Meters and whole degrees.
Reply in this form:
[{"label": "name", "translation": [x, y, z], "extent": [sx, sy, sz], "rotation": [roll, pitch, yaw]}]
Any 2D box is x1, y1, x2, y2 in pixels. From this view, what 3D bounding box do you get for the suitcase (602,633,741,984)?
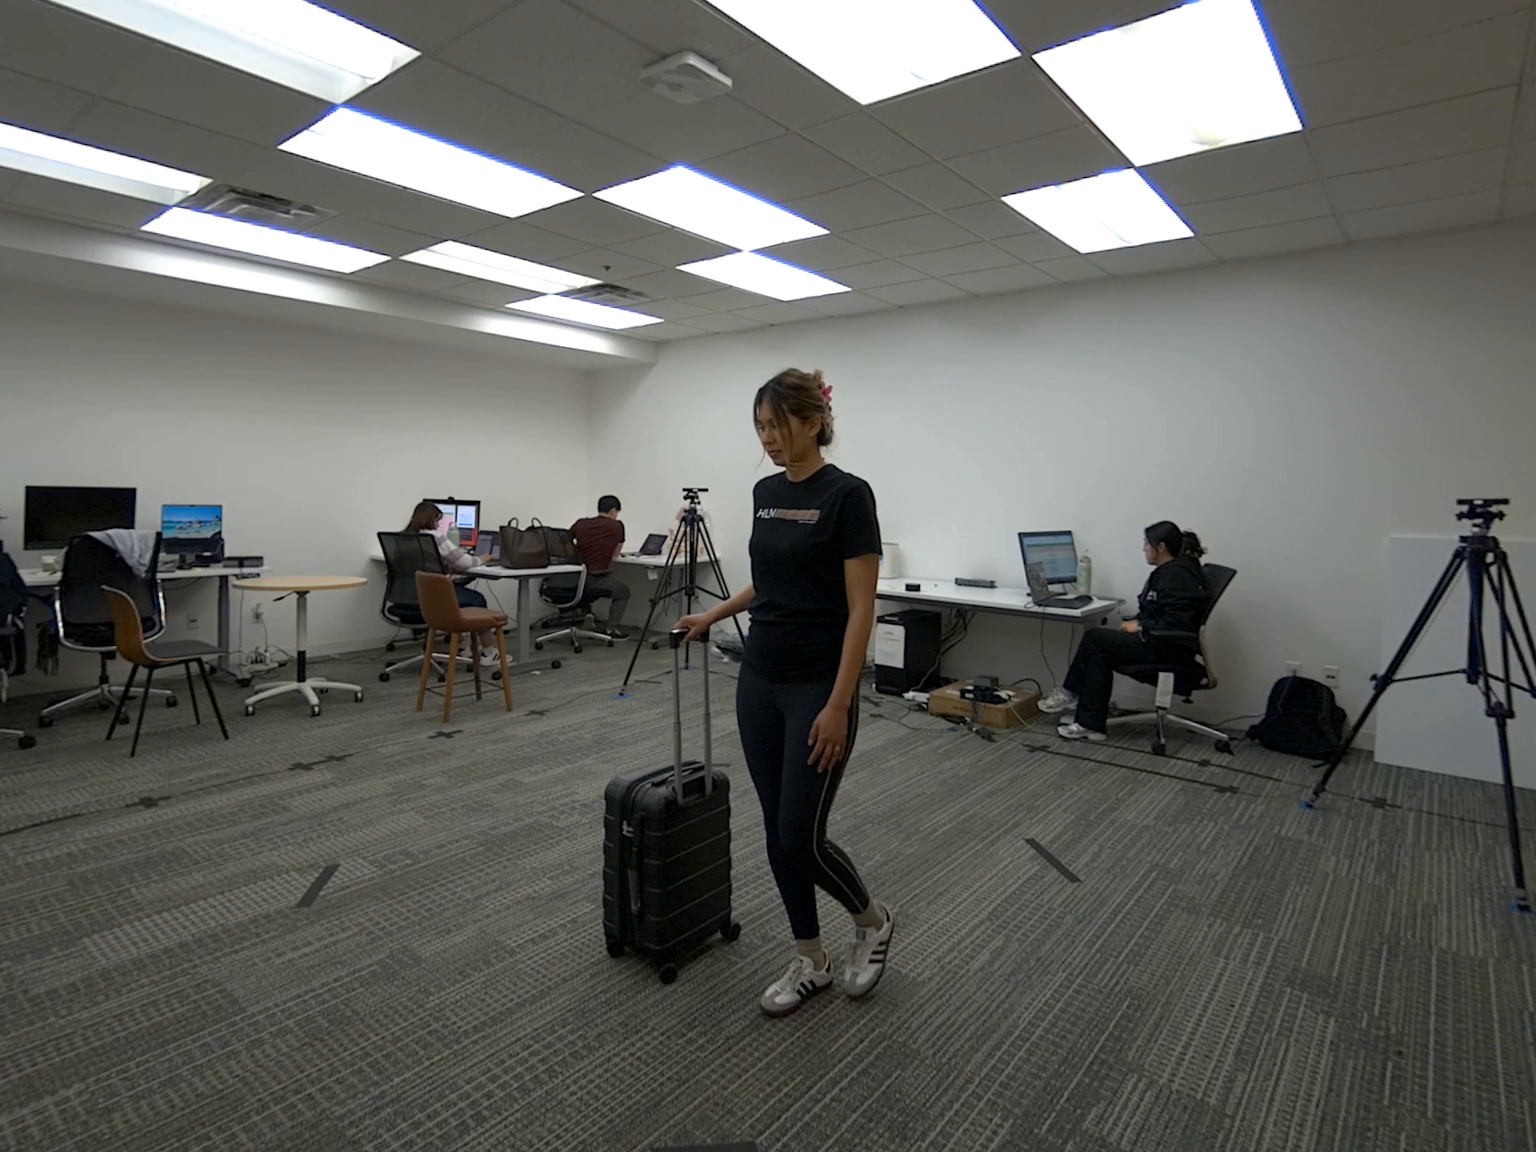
[{"label": "suitcase", "translation": [-0.317, 0.647, 2.556], "extent": [0.265, 0.976, 0.373], "rotation": [-1, 3, 39]}]
